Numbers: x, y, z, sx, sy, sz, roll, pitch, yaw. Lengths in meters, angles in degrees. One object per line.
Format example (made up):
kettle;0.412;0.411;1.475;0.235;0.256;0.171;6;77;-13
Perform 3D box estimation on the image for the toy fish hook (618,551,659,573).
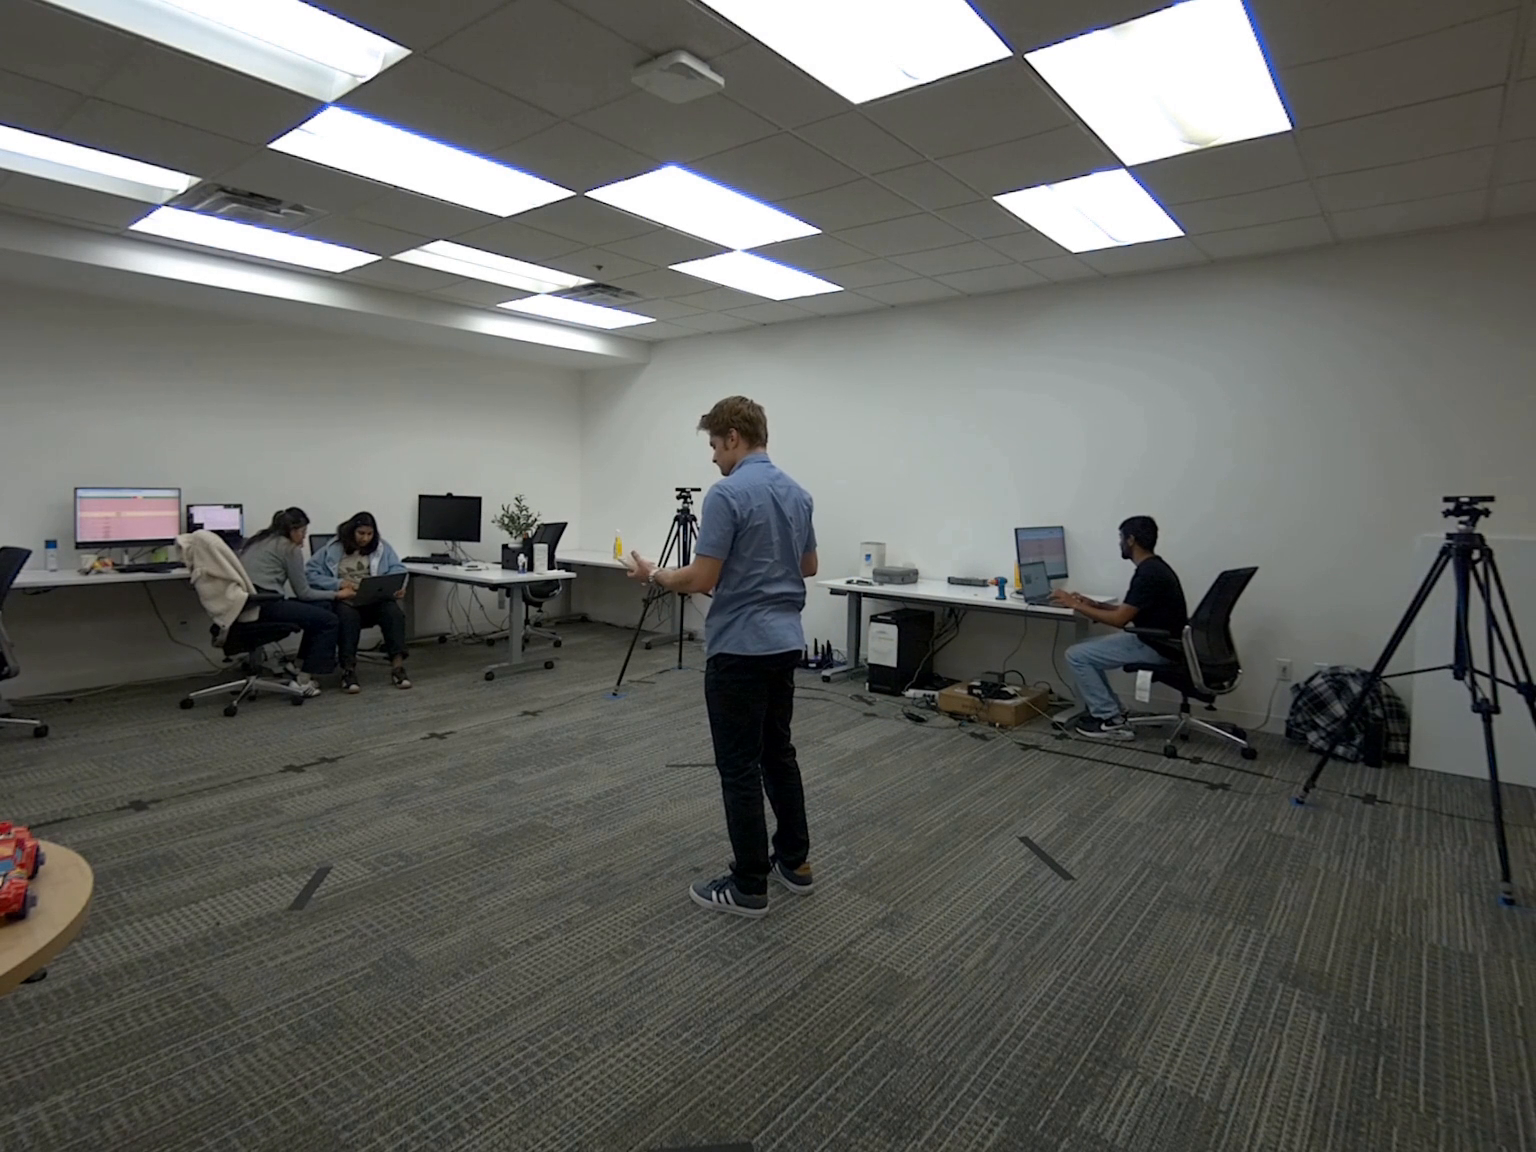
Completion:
toy fish hook;-0.339;-0.016;3.161;0.488;0.048;0.234;14;11;-39
